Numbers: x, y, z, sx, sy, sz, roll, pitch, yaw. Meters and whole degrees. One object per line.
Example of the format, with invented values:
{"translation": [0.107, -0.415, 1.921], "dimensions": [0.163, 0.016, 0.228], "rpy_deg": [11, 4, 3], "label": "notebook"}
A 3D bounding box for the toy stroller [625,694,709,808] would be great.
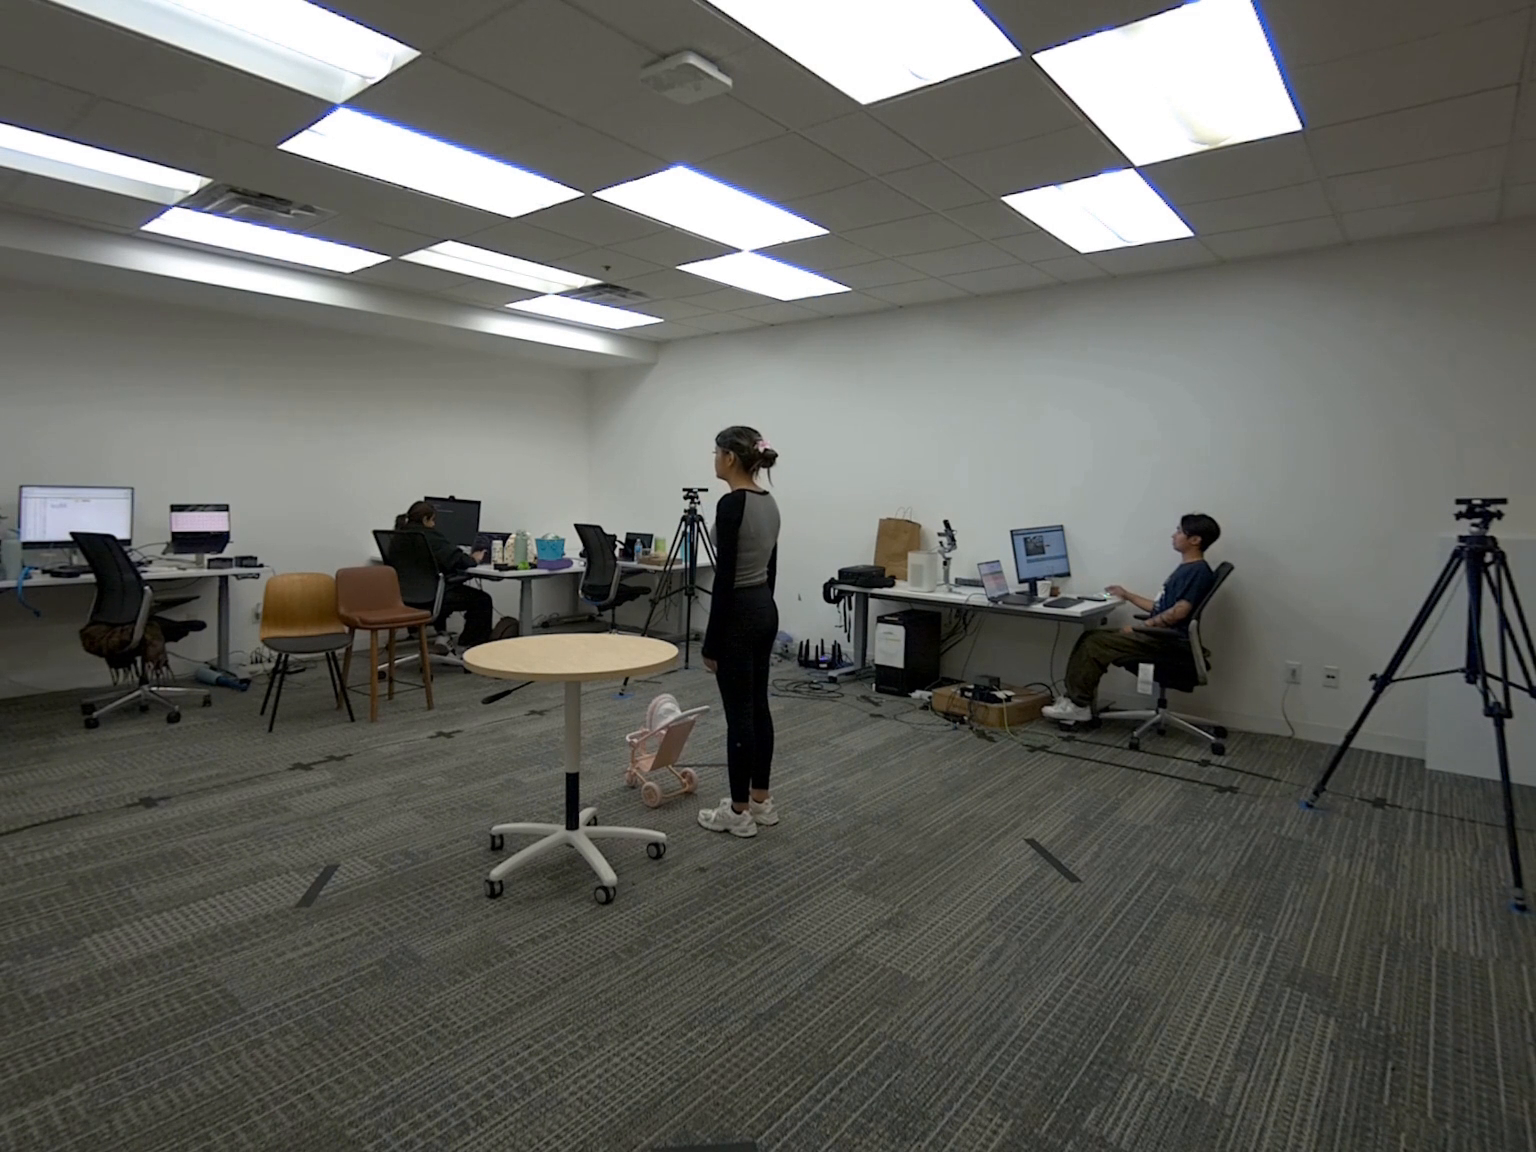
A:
{"translation": [-0.497, 0.769, 3.845], "dimensions": [0.355, 0.530, 0.273], "rpy_deg": [23, 16, 39], "label": "toy stroller"}
